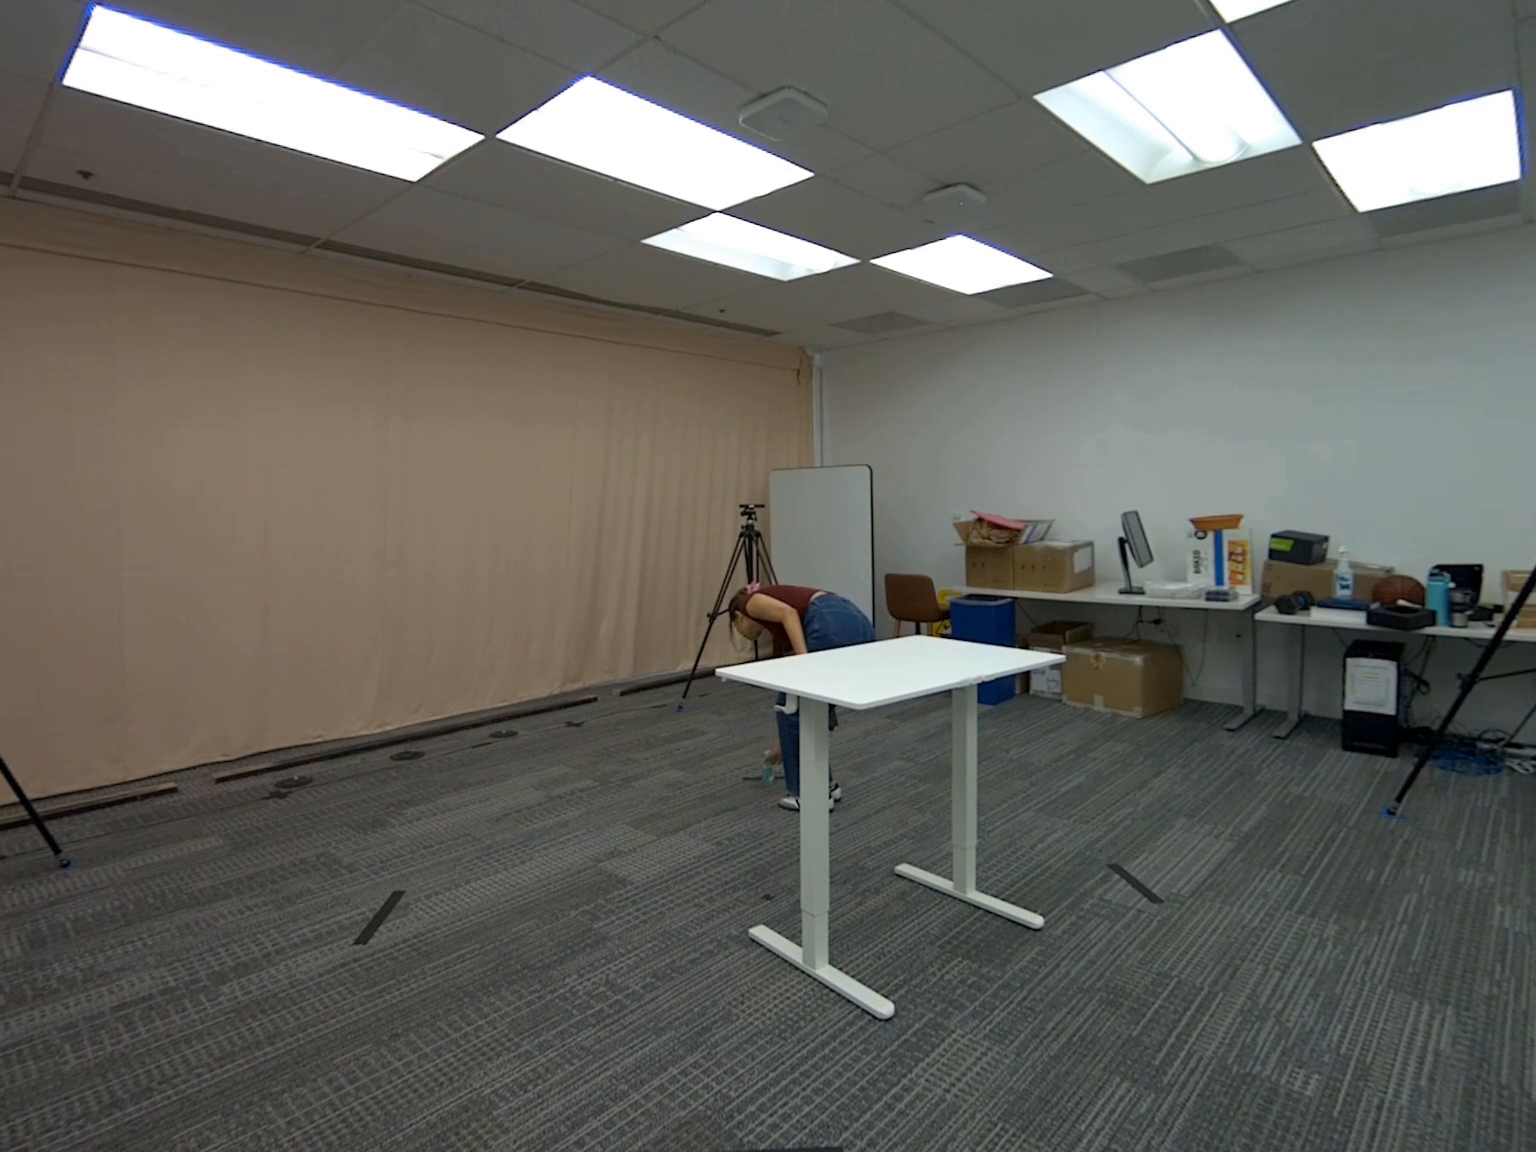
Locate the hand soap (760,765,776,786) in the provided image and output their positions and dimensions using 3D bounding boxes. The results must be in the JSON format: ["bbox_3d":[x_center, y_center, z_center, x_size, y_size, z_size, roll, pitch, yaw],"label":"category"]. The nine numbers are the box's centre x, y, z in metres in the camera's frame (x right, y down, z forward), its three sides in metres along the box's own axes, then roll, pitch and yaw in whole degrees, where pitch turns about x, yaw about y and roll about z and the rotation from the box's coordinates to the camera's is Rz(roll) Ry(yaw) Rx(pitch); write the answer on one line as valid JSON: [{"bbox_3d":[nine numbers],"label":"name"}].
[{"bbox_3d":[-0.001,0.956,4.199,0.044,0.168,0.083,-3,3,24],"label":"hand soap"}]
